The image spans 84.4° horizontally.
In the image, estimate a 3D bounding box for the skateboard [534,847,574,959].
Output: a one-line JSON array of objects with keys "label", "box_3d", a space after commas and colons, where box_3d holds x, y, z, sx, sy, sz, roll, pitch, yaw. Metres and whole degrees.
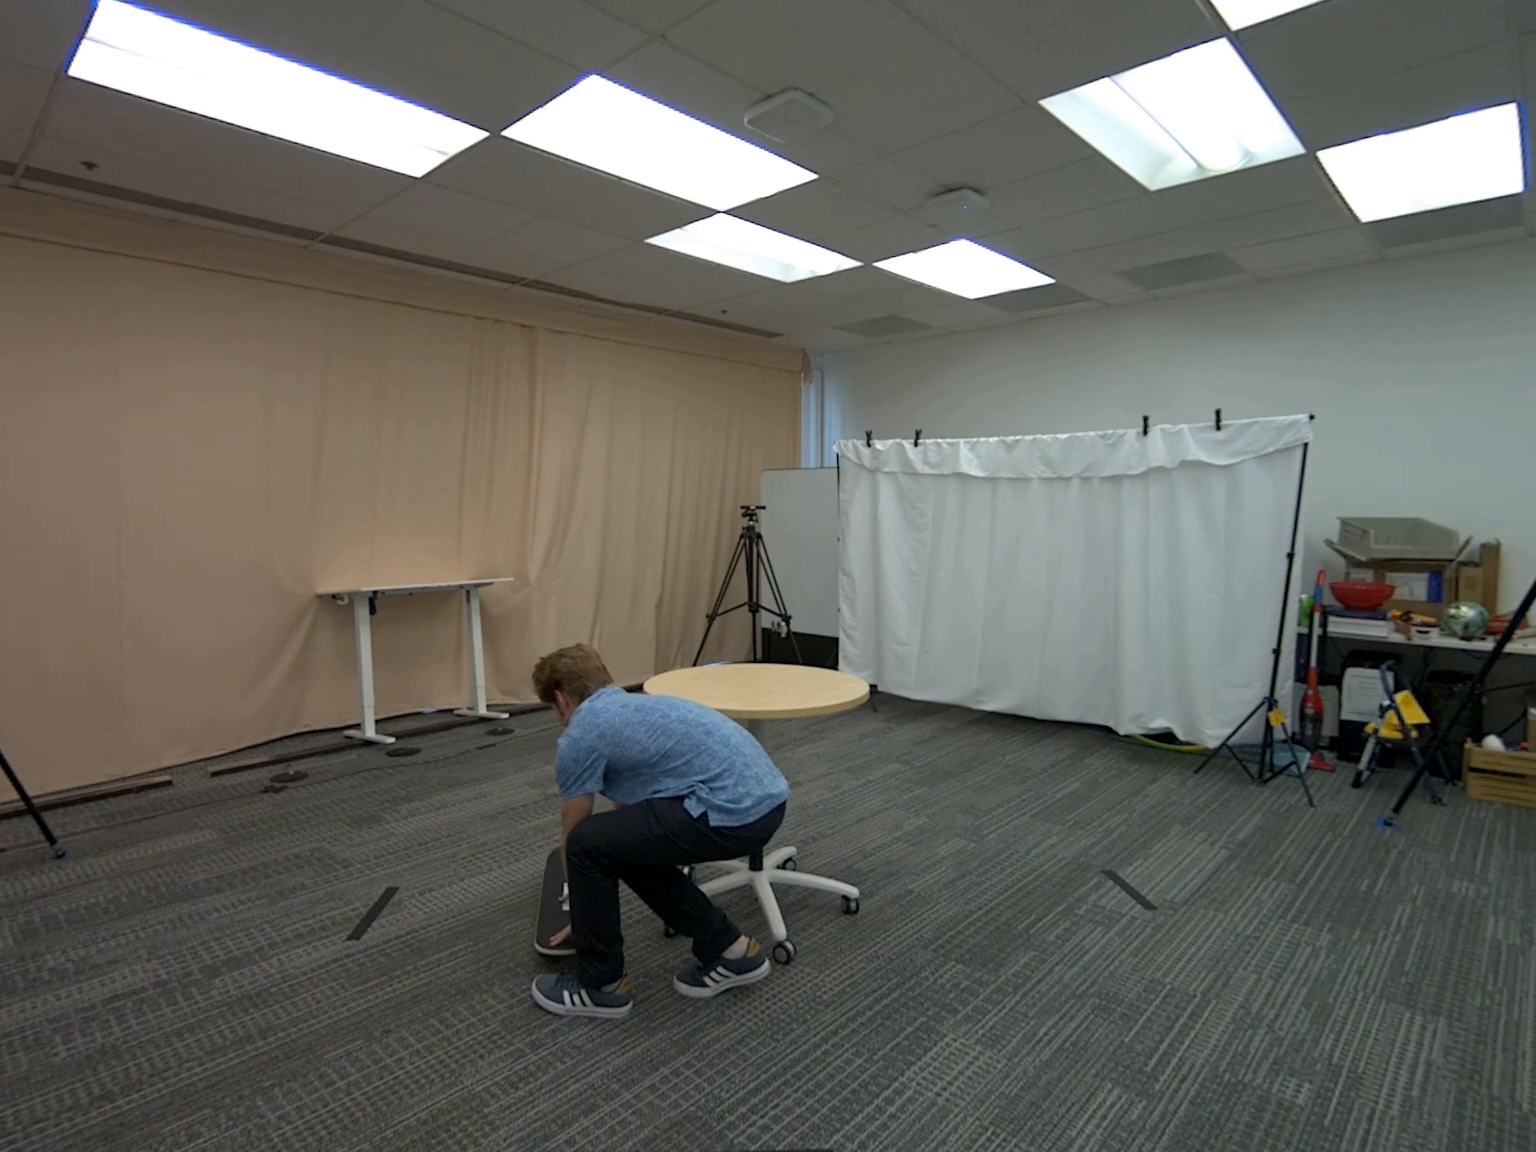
[{"label": "skateboard", "box_3d": [-0.656, 1.101, 2.827, 0.191, 0.110, 0.795, -1, 5, -11]}]
